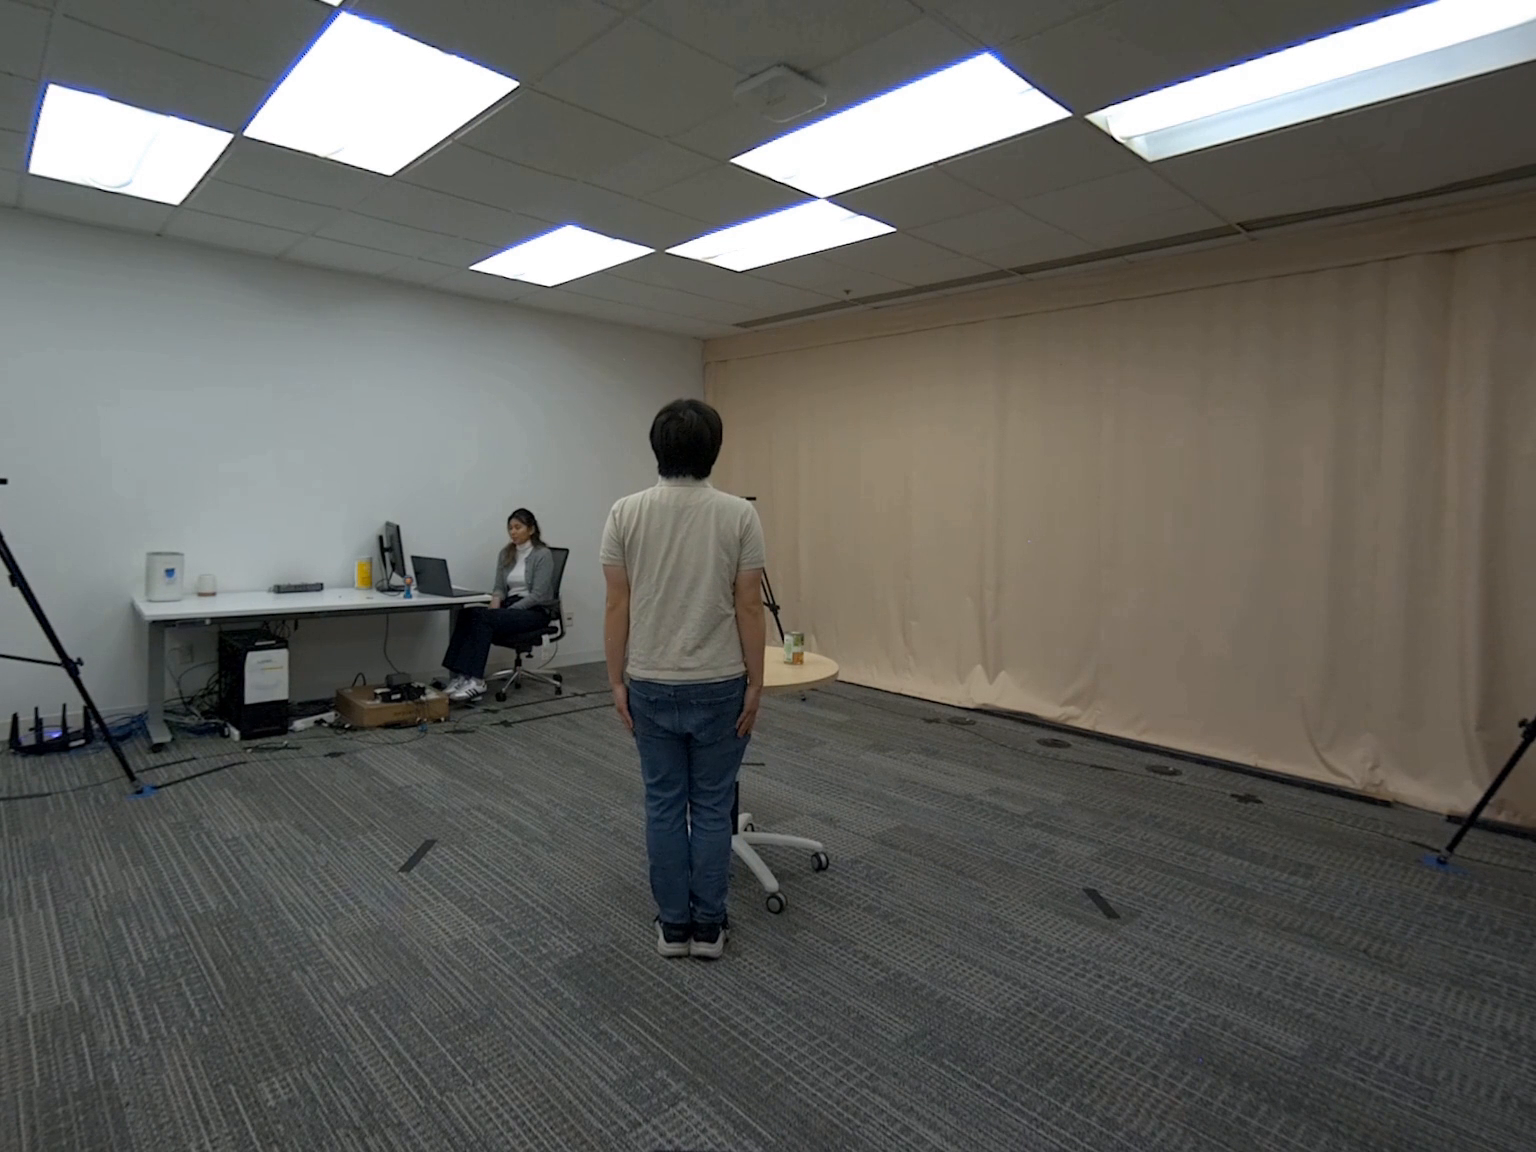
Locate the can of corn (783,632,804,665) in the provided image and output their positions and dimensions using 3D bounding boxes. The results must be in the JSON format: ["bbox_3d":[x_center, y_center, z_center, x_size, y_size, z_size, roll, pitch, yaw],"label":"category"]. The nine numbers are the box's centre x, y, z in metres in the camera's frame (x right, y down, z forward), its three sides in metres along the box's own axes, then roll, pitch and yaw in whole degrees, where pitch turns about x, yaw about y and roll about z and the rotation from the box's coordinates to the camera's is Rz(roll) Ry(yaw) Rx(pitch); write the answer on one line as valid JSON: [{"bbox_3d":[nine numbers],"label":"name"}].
[{"bbox_3d":[0.088,0.269,3.133,0.074,0.111,0.074,0,4,-1],"label":"can of corn"}]
